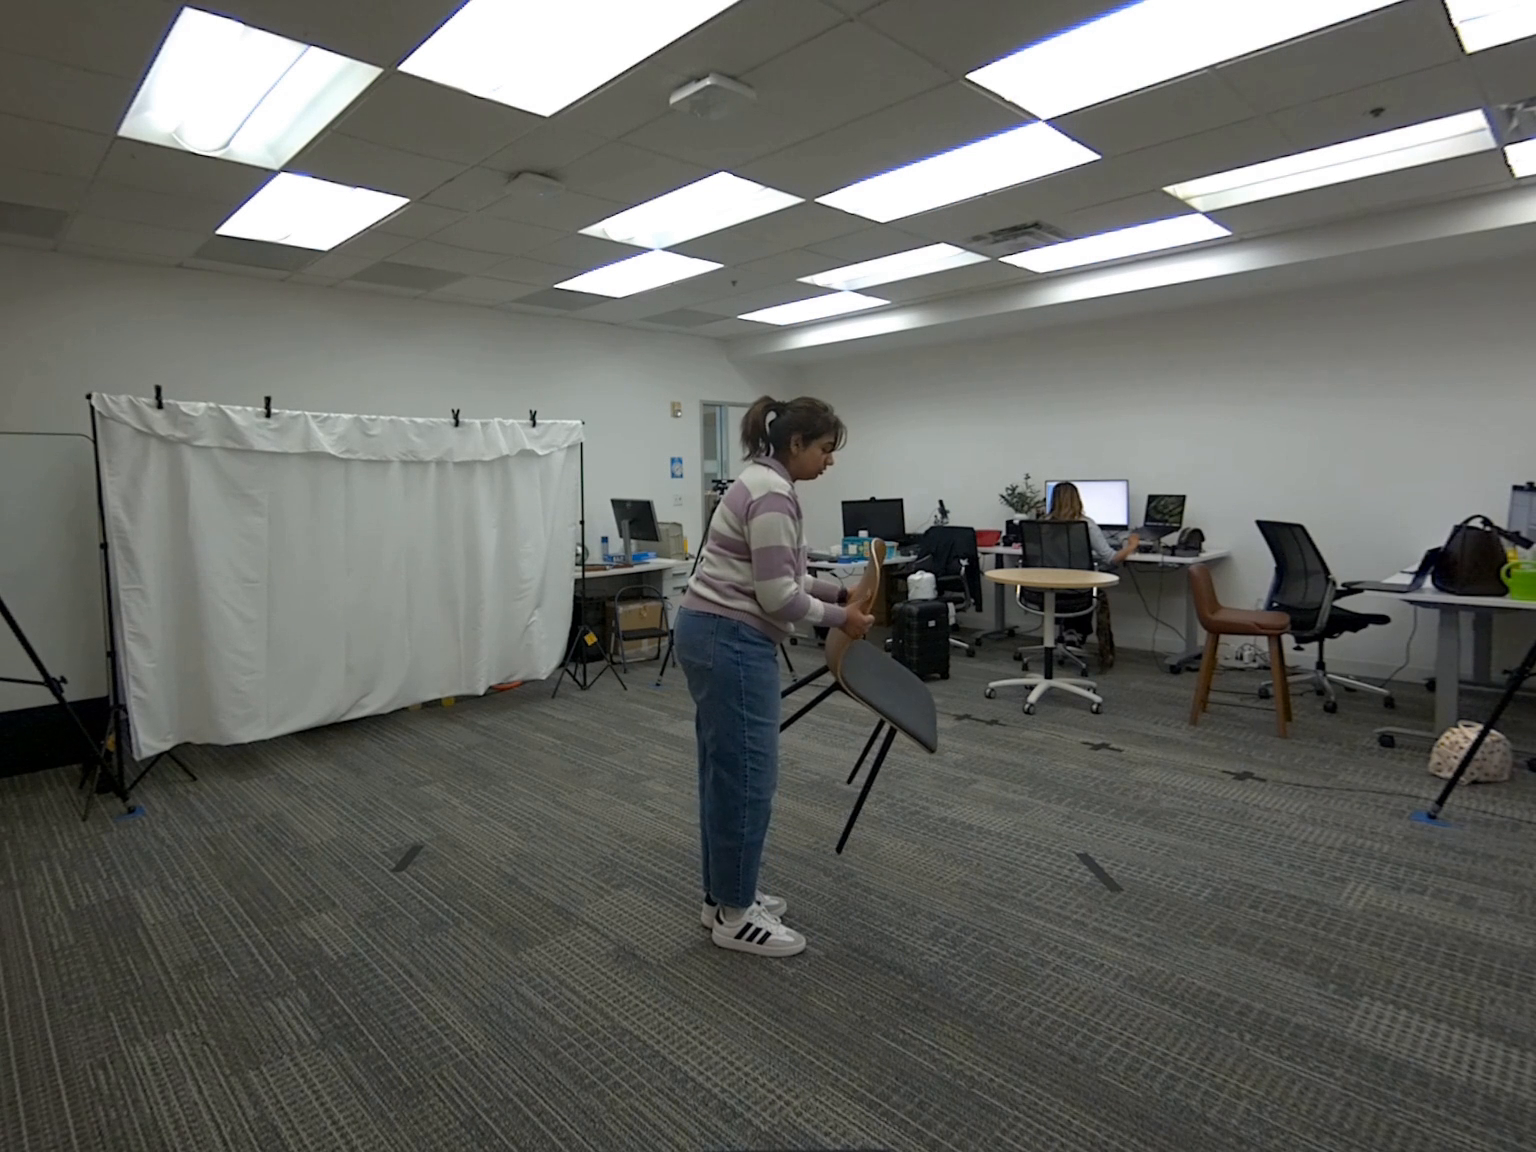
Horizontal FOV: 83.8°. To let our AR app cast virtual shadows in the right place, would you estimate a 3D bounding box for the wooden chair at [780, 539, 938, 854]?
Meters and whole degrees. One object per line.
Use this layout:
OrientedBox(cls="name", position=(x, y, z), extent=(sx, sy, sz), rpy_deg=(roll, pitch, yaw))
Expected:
OrientedBox(cls="wooden chair", position=(0.337, 0.386, 2.828), extent=(0.526, 0.873, 0.478), rpy_deg=(33, 18, 2))
